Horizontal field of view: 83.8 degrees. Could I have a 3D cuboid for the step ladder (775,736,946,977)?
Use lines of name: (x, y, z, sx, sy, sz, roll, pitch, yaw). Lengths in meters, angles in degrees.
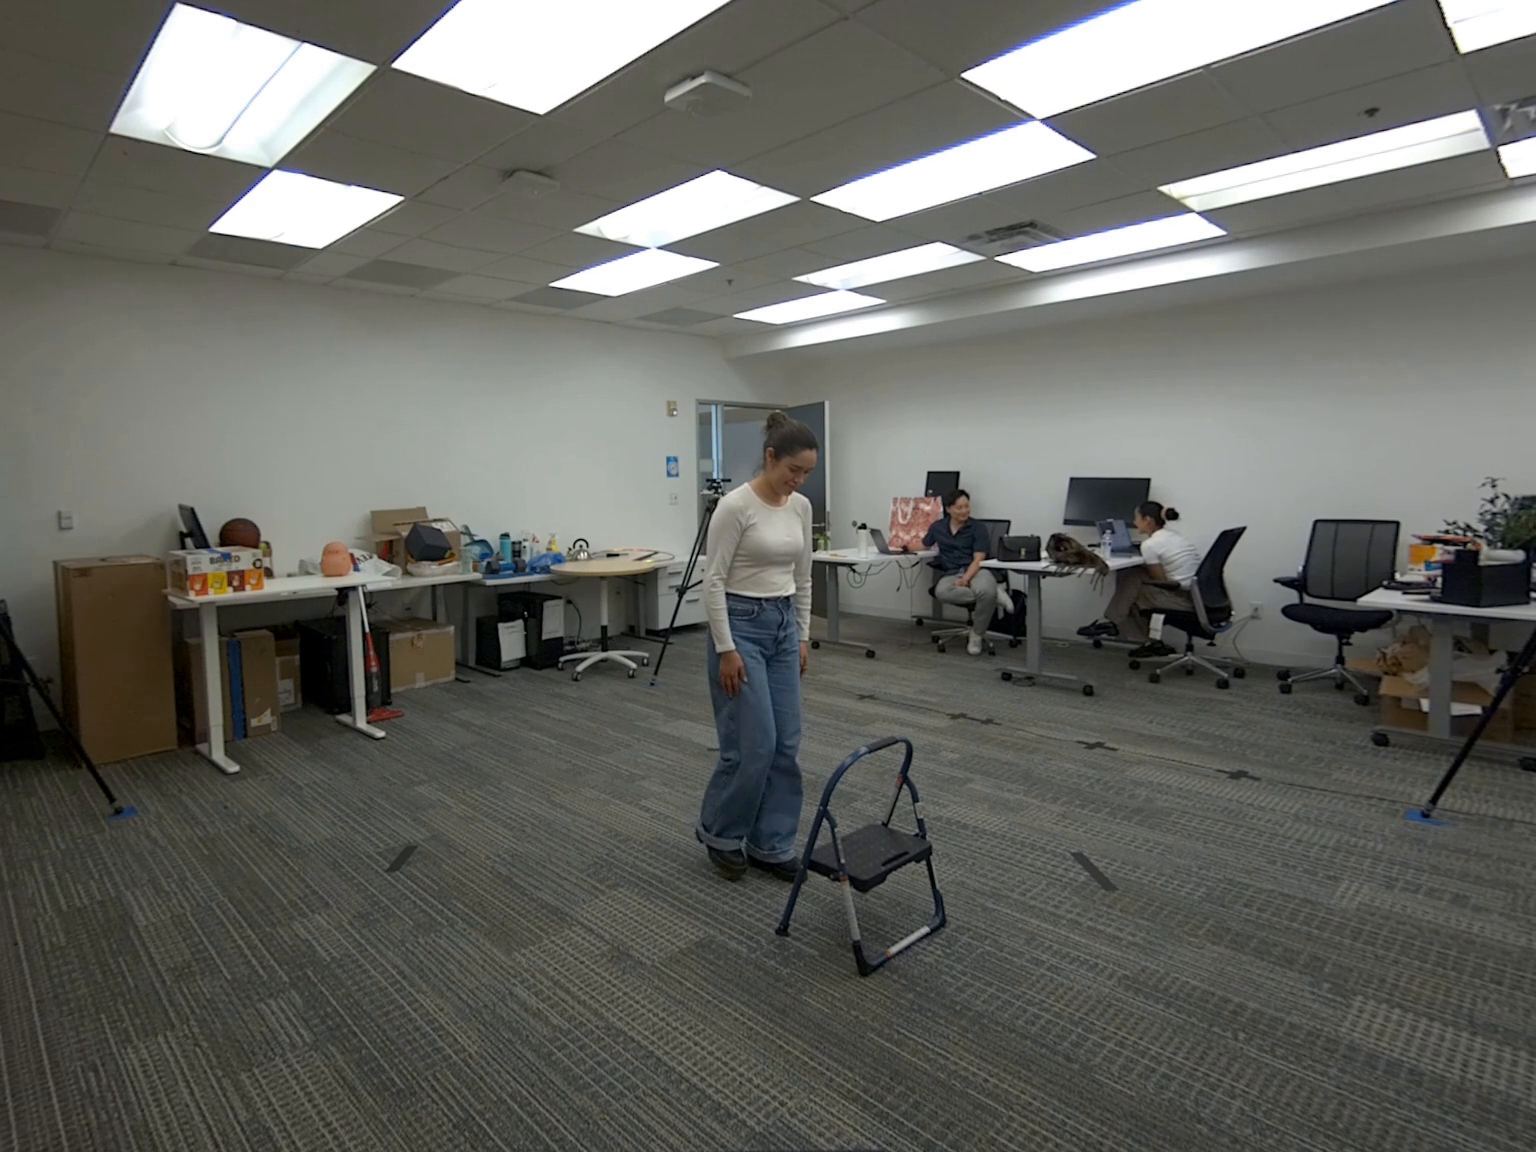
step ladder: (0.289, 0.791, 2.627, 0.419, 0.604, 0.360, -6, 6, -45)
